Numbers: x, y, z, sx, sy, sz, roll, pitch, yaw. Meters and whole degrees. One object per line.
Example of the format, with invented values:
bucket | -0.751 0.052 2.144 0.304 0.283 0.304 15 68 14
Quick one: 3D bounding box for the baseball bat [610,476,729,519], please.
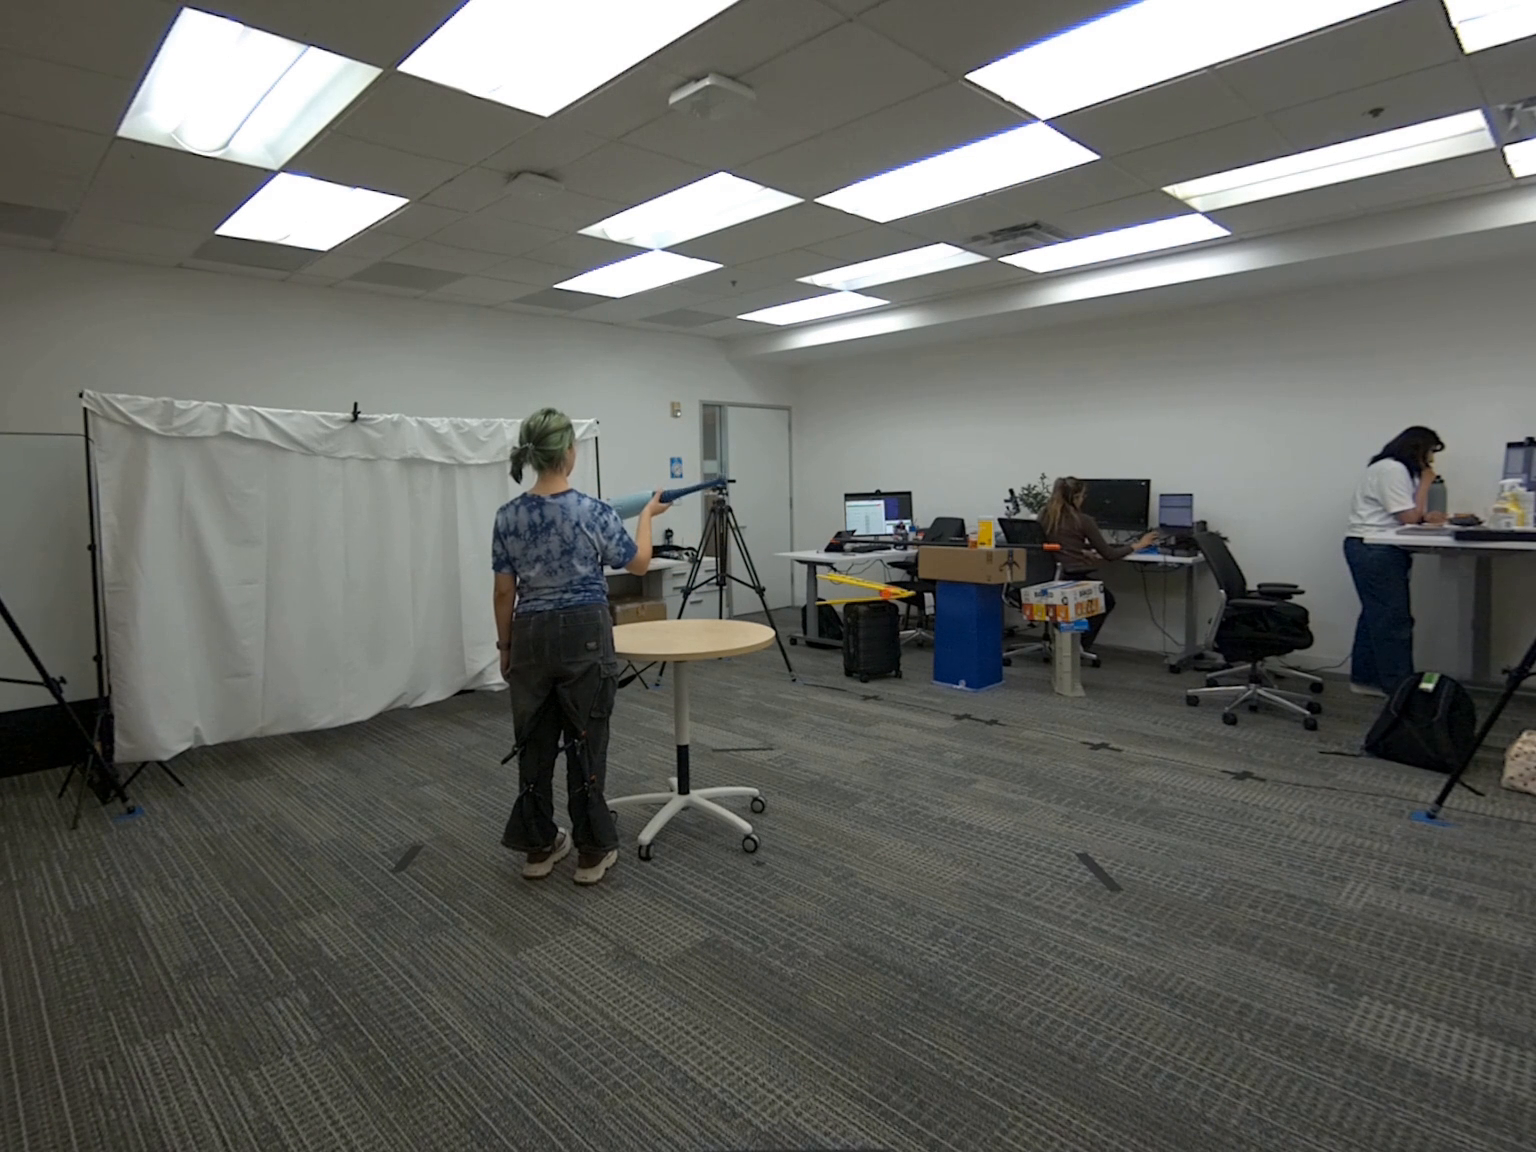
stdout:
baseball bat | -0.420 -0.299 3.298 0.548 0.089 0.088 -15 2 13
